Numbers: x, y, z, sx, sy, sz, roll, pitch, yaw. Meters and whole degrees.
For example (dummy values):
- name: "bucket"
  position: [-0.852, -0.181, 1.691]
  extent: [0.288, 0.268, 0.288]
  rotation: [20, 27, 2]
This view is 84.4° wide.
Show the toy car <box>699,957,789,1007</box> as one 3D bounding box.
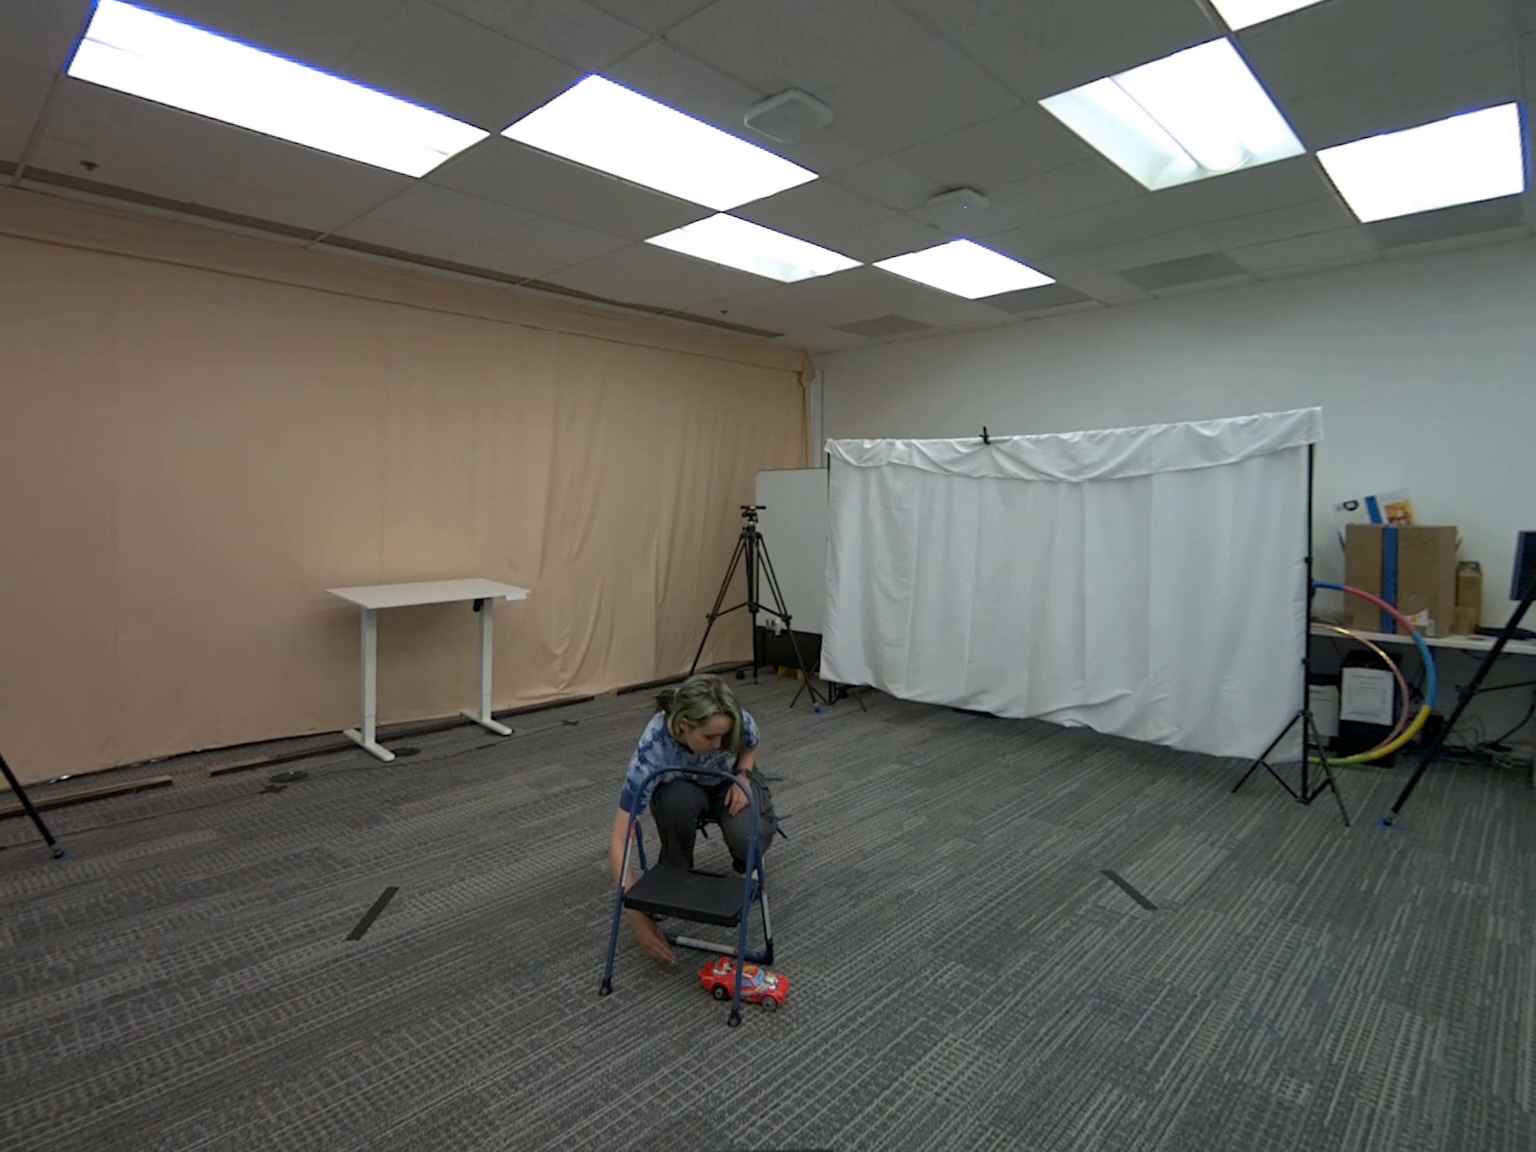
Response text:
- name: "toy car"
  position: [-0.078, 1.155, 2.403]
  extent: [0.261, 0.083, 0.127]
  rotation: [12, 7, 21]
